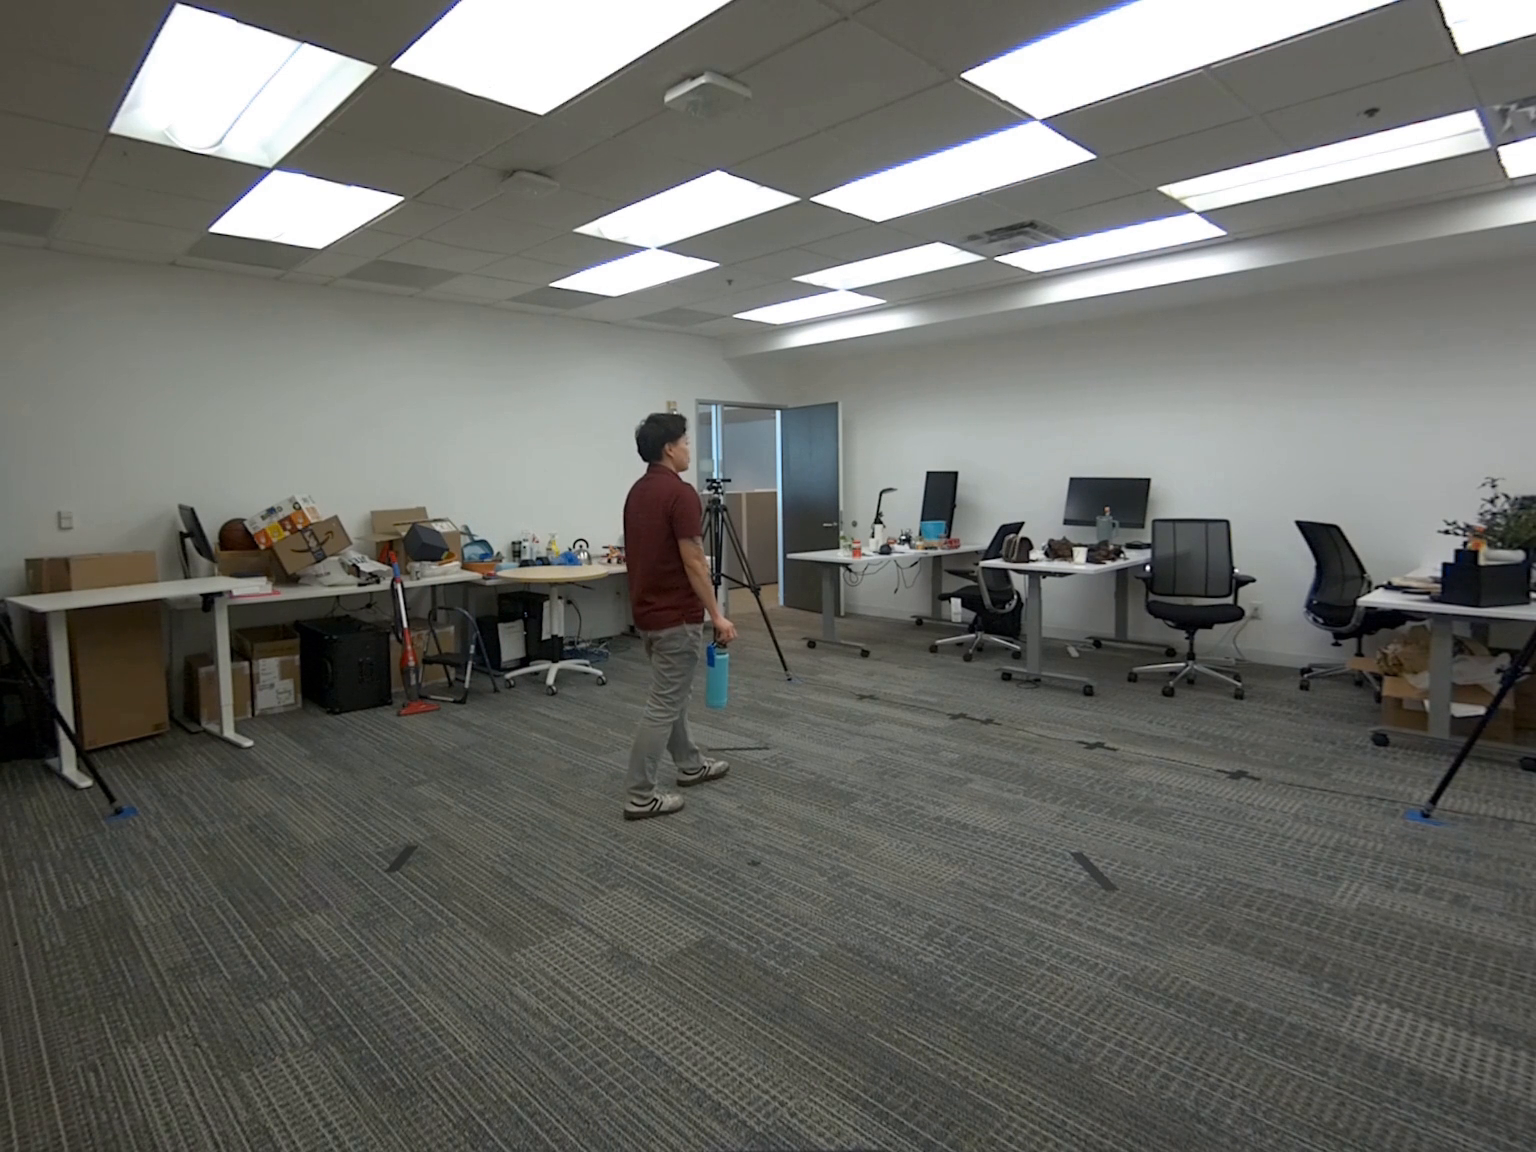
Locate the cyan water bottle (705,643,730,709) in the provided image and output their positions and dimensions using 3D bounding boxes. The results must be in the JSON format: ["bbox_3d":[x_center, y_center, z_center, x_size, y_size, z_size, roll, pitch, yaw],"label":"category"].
[{"bbox_3d":[-0.211,0.398,3.542,0.092,0.281,0.093,2,7,-2],"label":"cyan water bottle"}]
